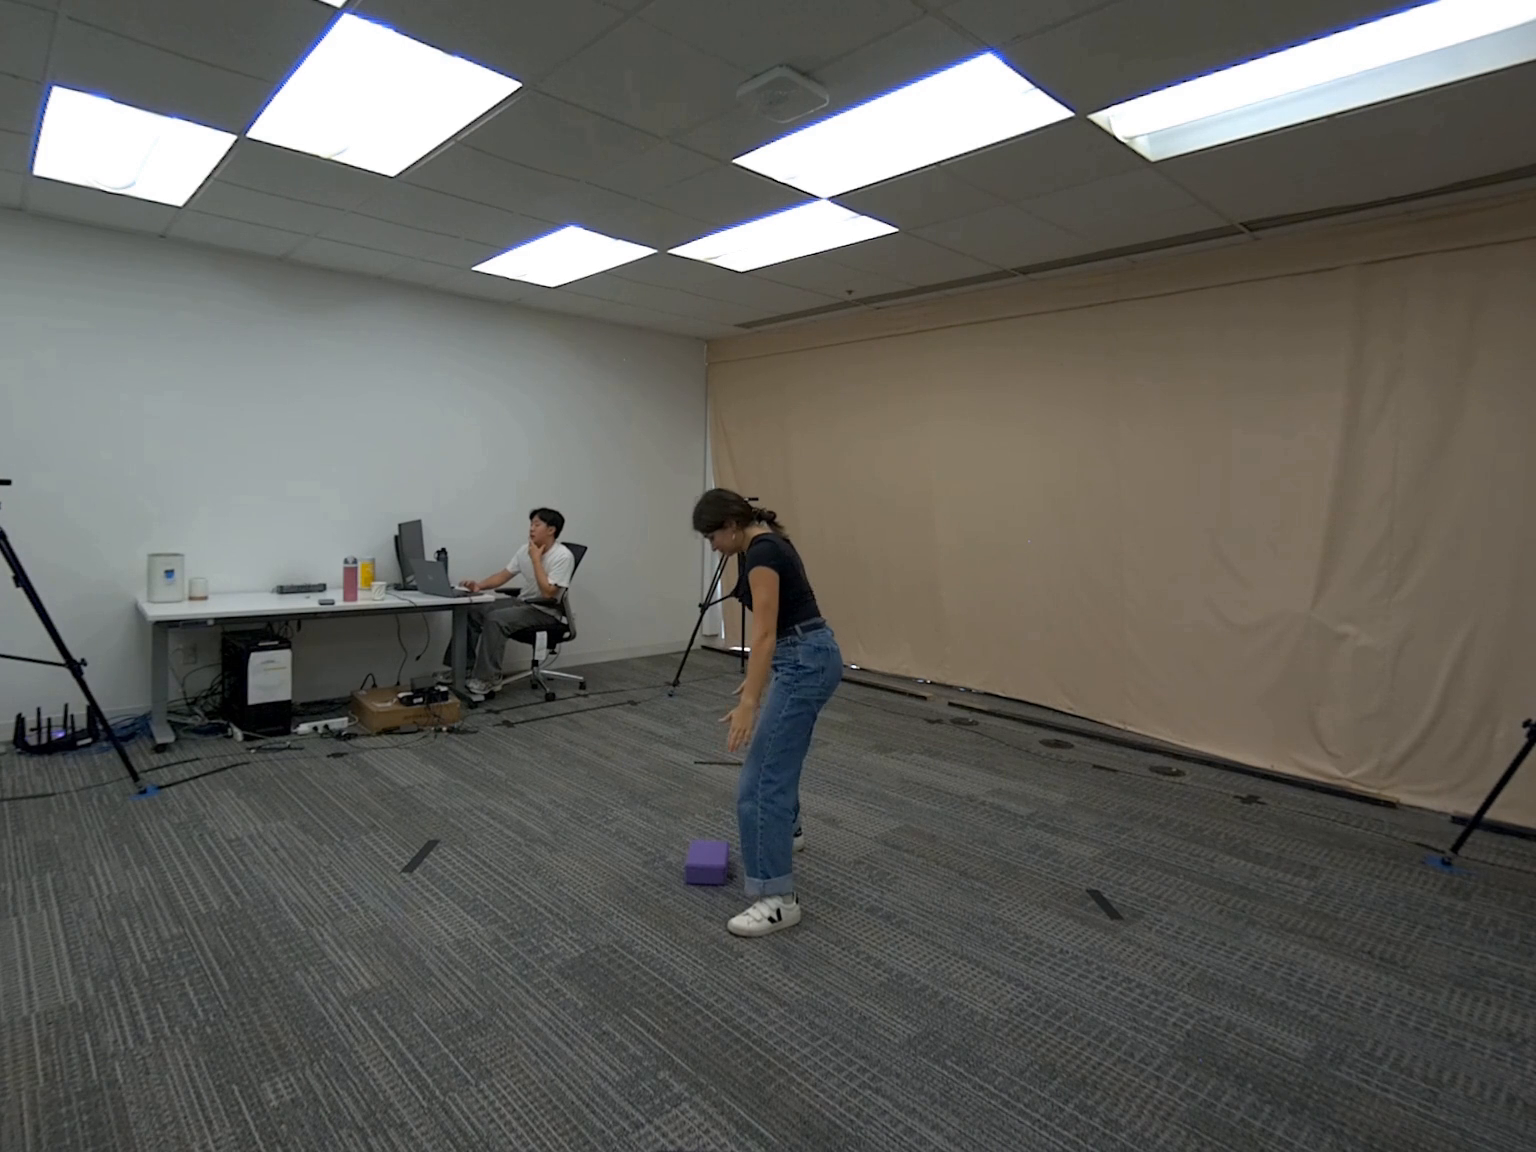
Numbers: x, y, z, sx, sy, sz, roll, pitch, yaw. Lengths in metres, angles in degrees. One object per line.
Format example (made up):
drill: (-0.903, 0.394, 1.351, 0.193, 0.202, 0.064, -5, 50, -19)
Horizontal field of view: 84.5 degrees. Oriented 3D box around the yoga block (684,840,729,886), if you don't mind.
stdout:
yoga block: (-0.231, 1.066, 3.126, 0.149, 0.076, 0.229, 1, 4, 2)
